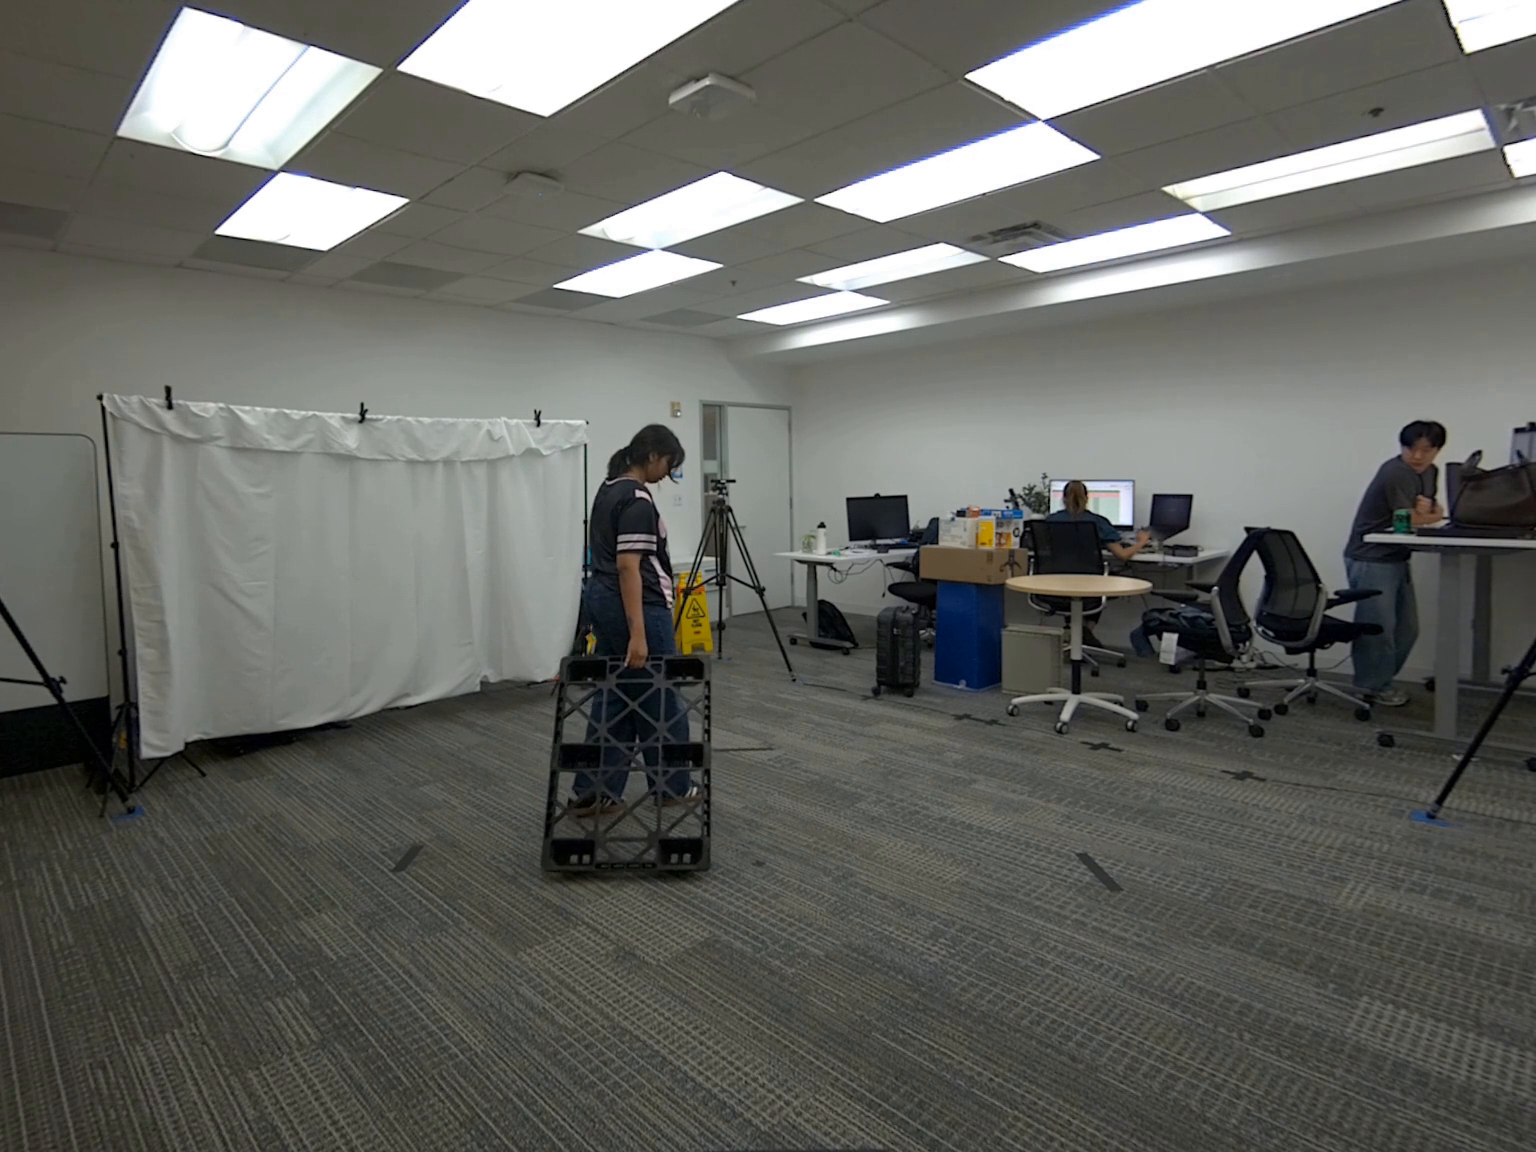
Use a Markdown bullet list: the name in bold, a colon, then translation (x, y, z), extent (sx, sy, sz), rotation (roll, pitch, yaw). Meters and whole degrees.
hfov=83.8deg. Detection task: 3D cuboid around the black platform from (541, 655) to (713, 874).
- **black platform**: translation (-0.515, 0.702, 3.230), extent (0.606, 0.824, 0.140), rotation (-2, -29, 2)
